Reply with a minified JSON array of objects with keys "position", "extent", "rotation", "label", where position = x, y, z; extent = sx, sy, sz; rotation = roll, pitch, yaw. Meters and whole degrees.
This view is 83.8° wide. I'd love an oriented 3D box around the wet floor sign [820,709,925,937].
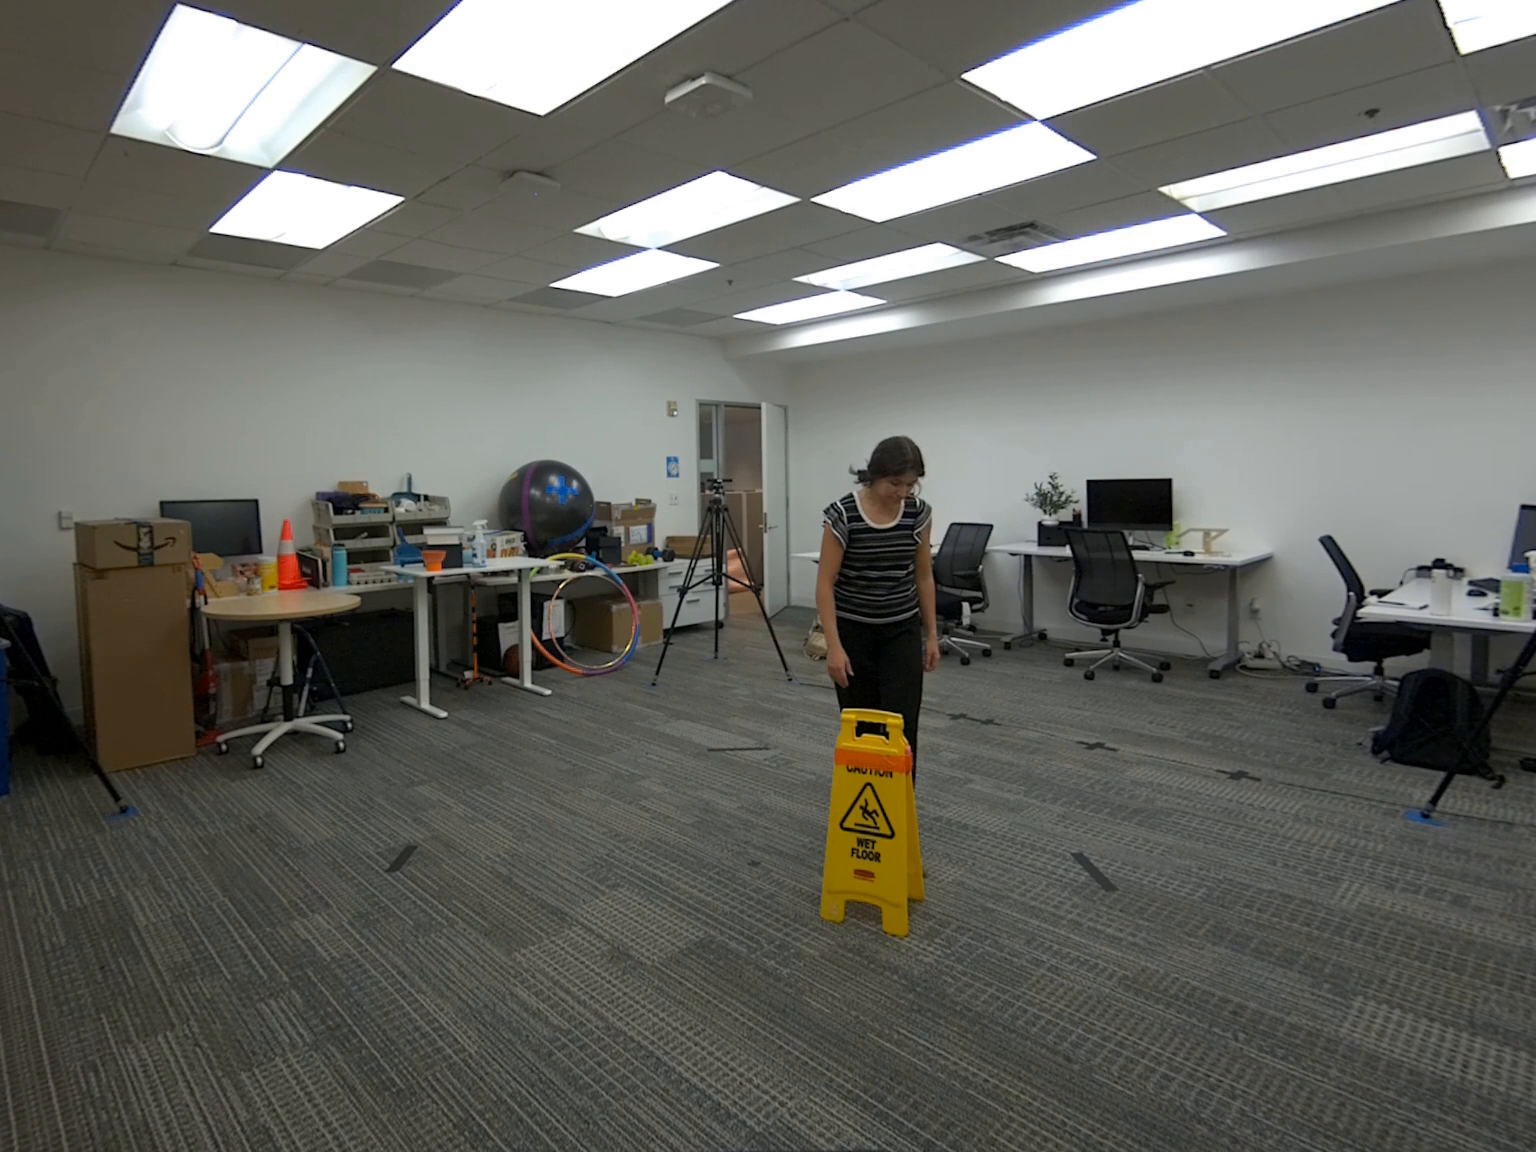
[{"position":[0.339,0.759,2.735],"extent":[0.288,0.643,0.285],"rotation":[0,5,23],"label":"wet floor sign"}]
